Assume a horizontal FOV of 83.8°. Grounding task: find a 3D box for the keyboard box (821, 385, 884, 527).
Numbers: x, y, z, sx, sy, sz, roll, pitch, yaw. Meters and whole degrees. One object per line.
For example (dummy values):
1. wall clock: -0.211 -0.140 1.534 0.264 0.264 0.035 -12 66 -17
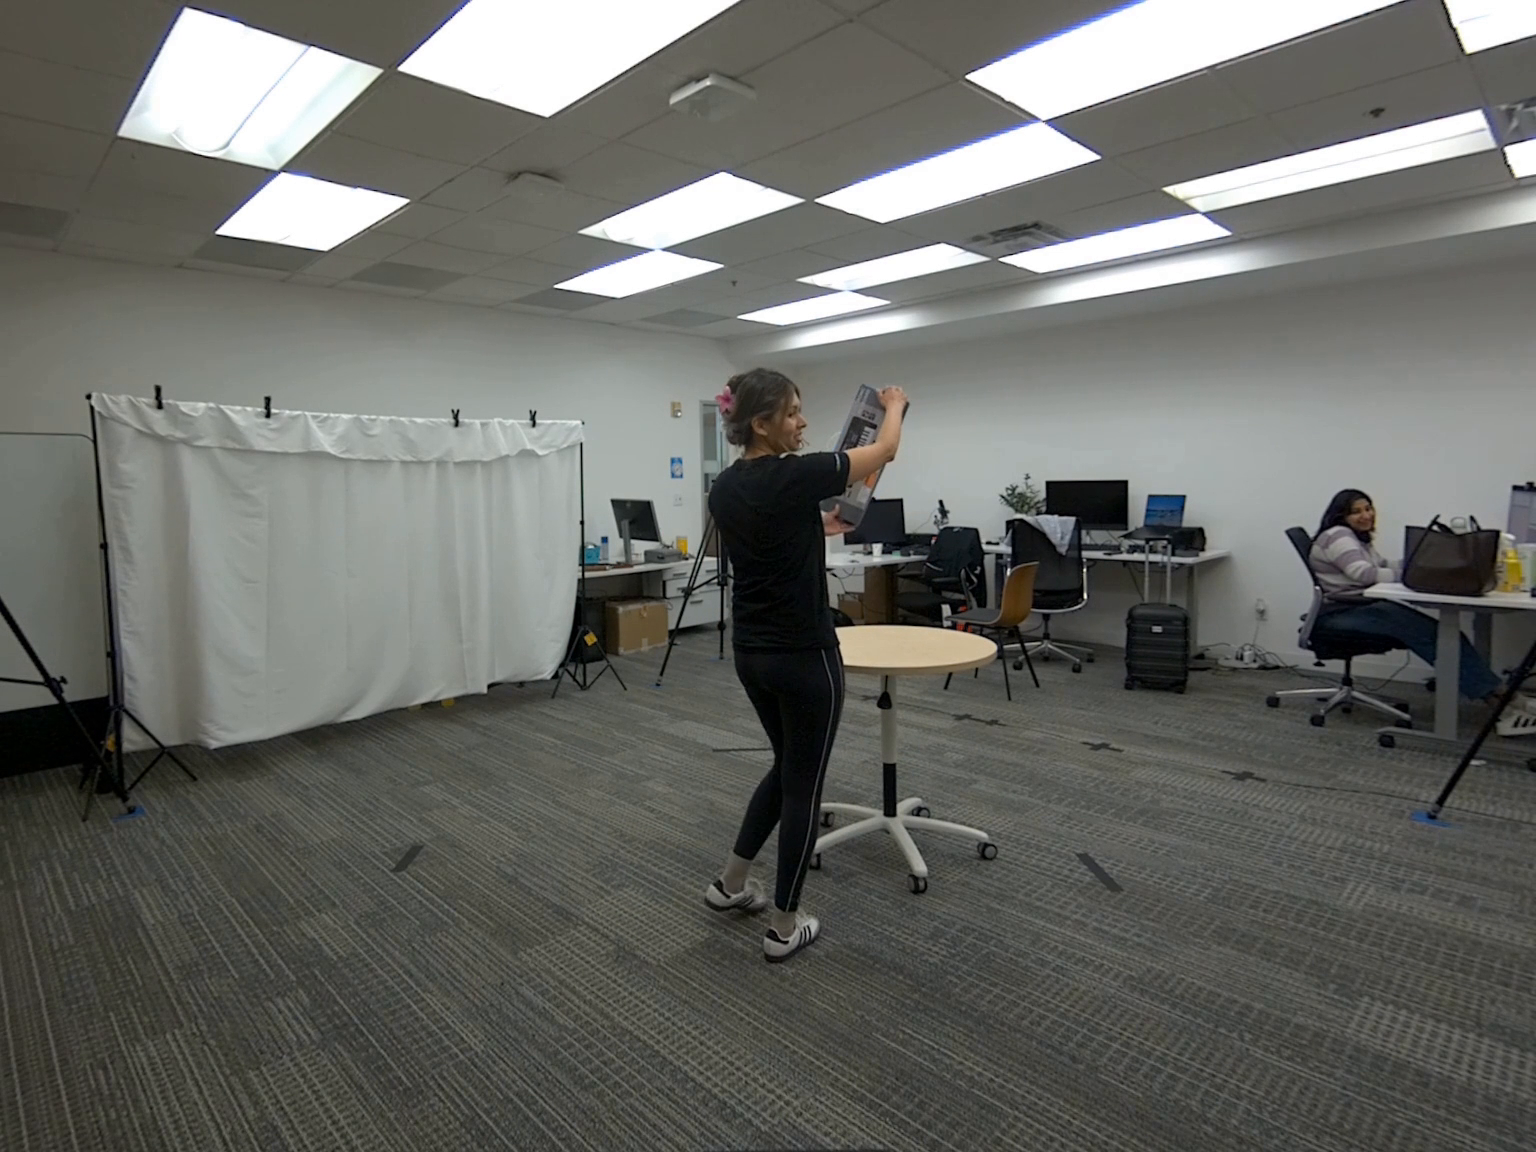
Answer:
1. keyboard box: 0.315 -0.404 2.867 0.178 0.435 0.058 22 8 10
